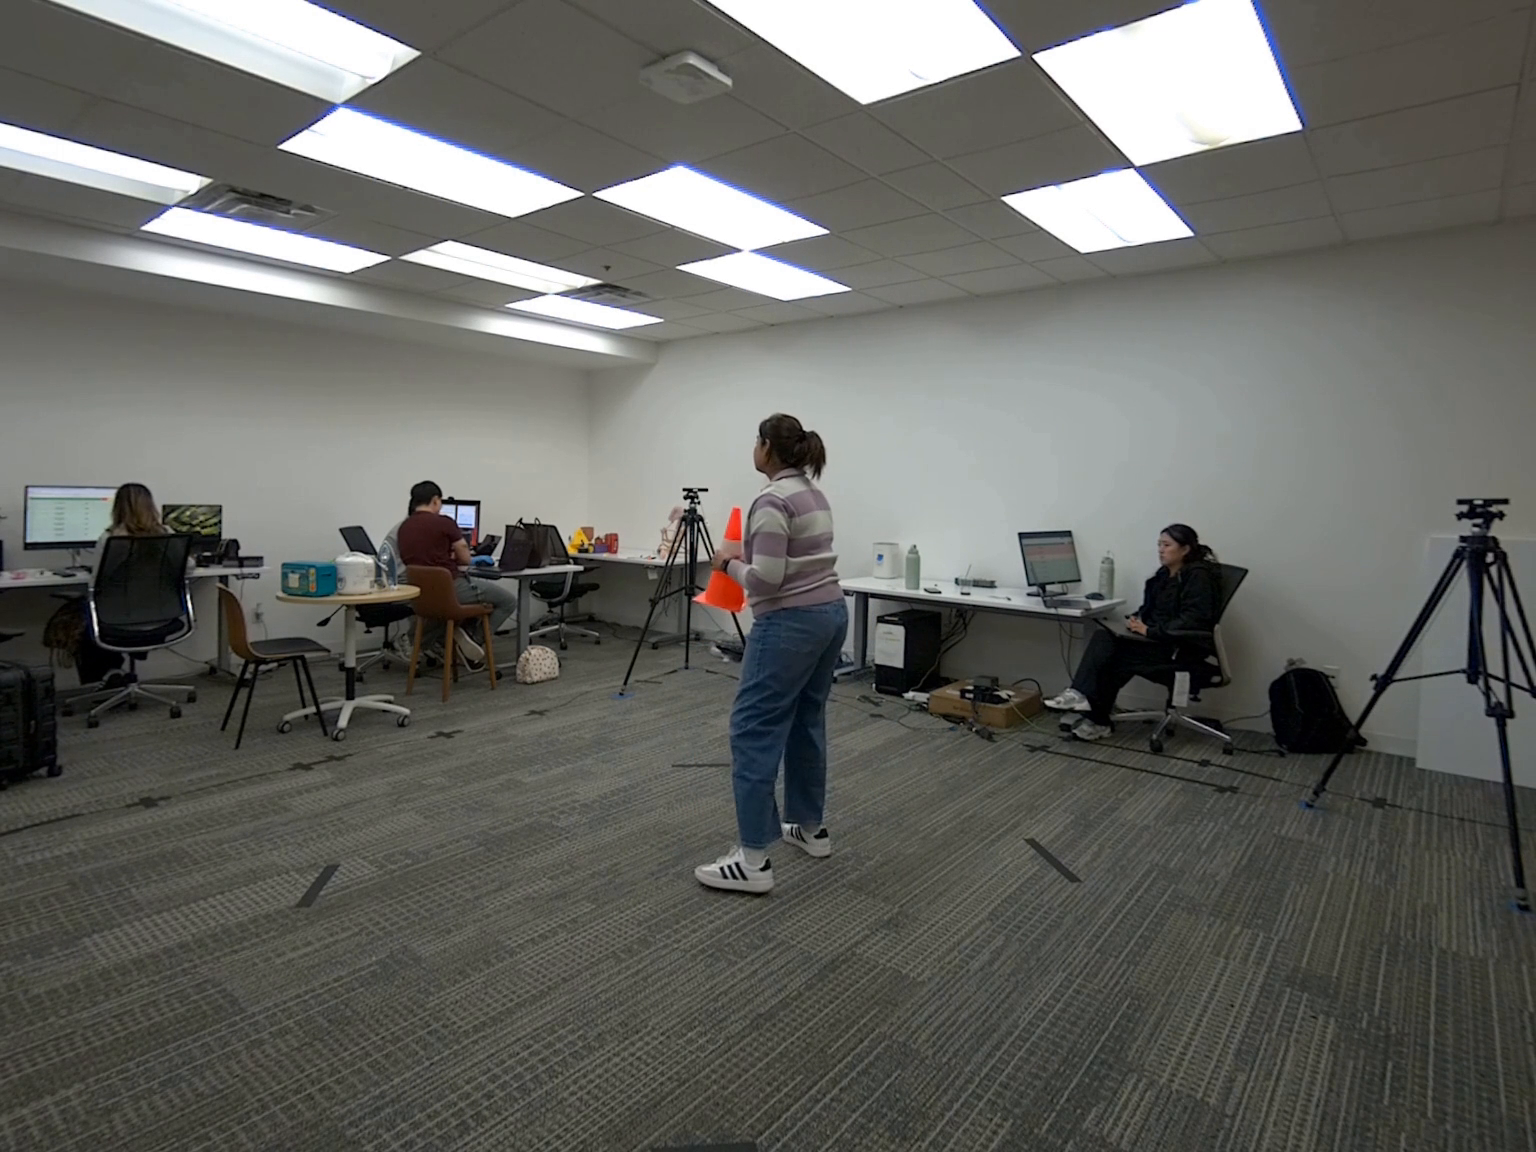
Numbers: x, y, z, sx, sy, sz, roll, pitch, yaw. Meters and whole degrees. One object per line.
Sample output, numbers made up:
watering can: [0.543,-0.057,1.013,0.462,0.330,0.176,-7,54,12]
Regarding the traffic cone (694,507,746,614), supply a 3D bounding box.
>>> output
traffic cone: [-0.156,-0.086,3.352,0.207,0.379,0.203,12,15,16]
